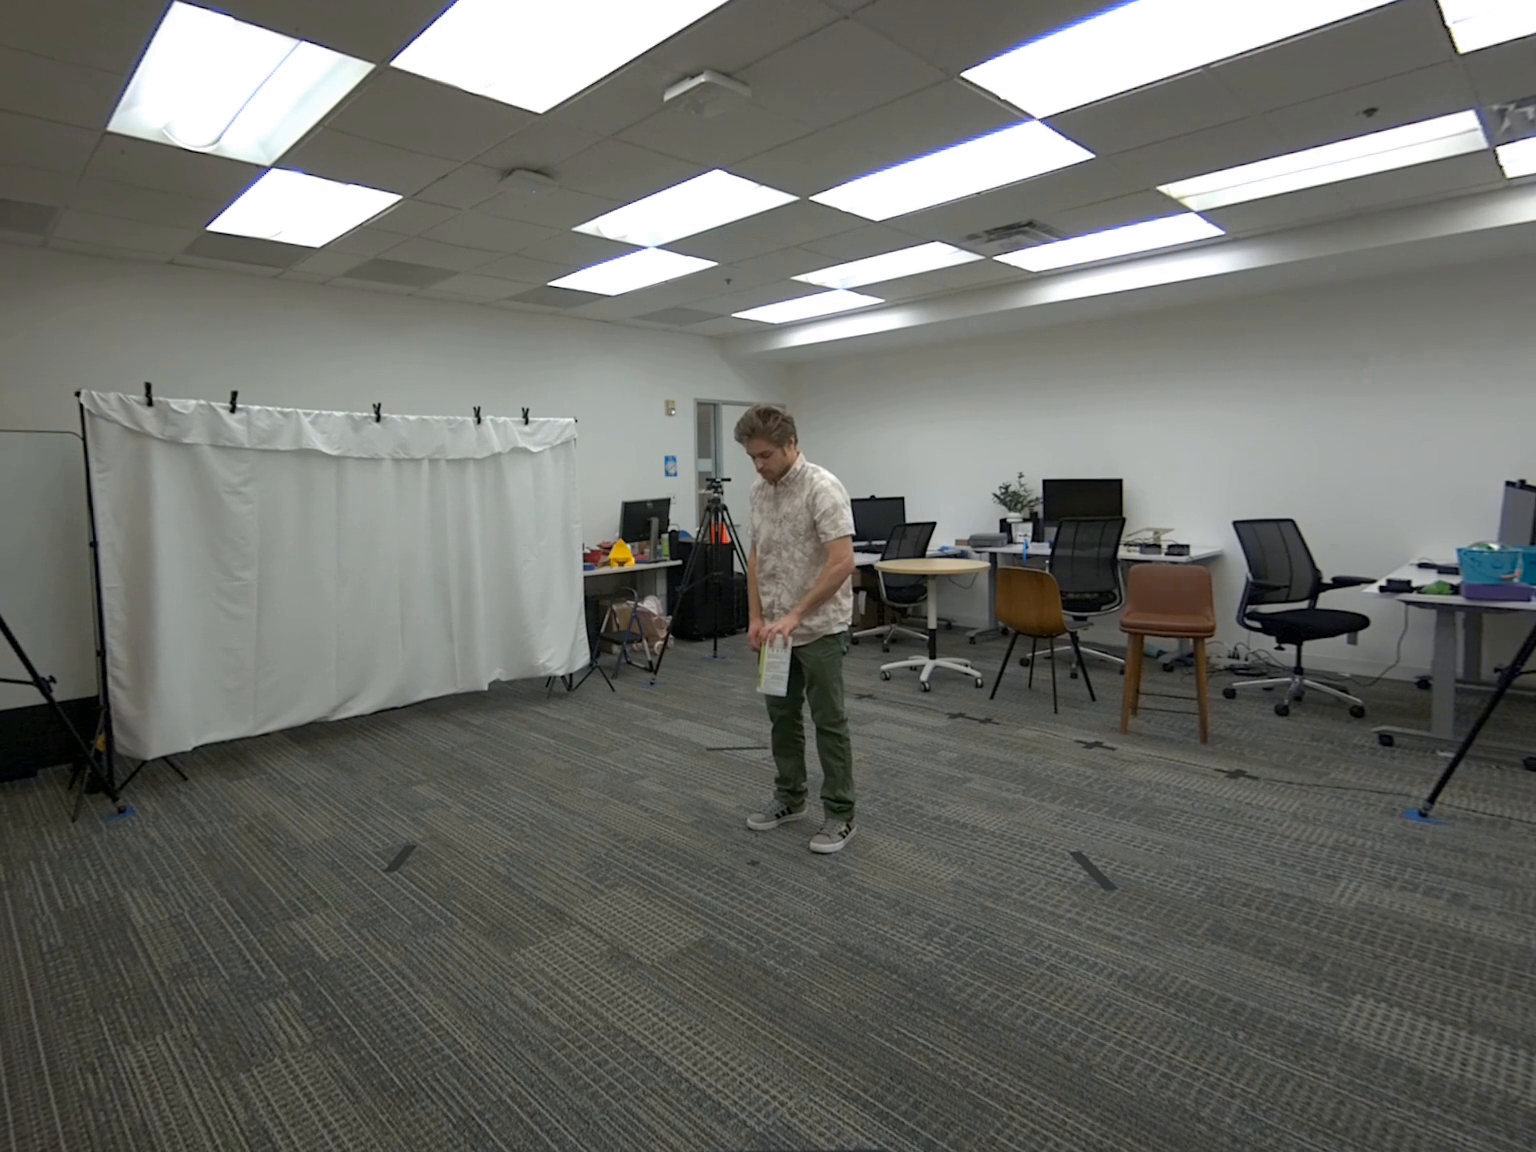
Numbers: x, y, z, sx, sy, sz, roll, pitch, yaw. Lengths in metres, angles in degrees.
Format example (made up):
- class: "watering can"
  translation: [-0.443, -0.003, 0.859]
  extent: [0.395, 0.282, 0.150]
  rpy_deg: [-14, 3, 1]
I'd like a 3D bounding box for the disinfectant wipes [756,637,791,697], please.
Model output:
- class: "disinfectant wipes"
  translation: [0.024, 0.322, 3.073]
  extent: [0.118, 0.218, 0.117]
  rpy_deg: [6, -6, -1]
